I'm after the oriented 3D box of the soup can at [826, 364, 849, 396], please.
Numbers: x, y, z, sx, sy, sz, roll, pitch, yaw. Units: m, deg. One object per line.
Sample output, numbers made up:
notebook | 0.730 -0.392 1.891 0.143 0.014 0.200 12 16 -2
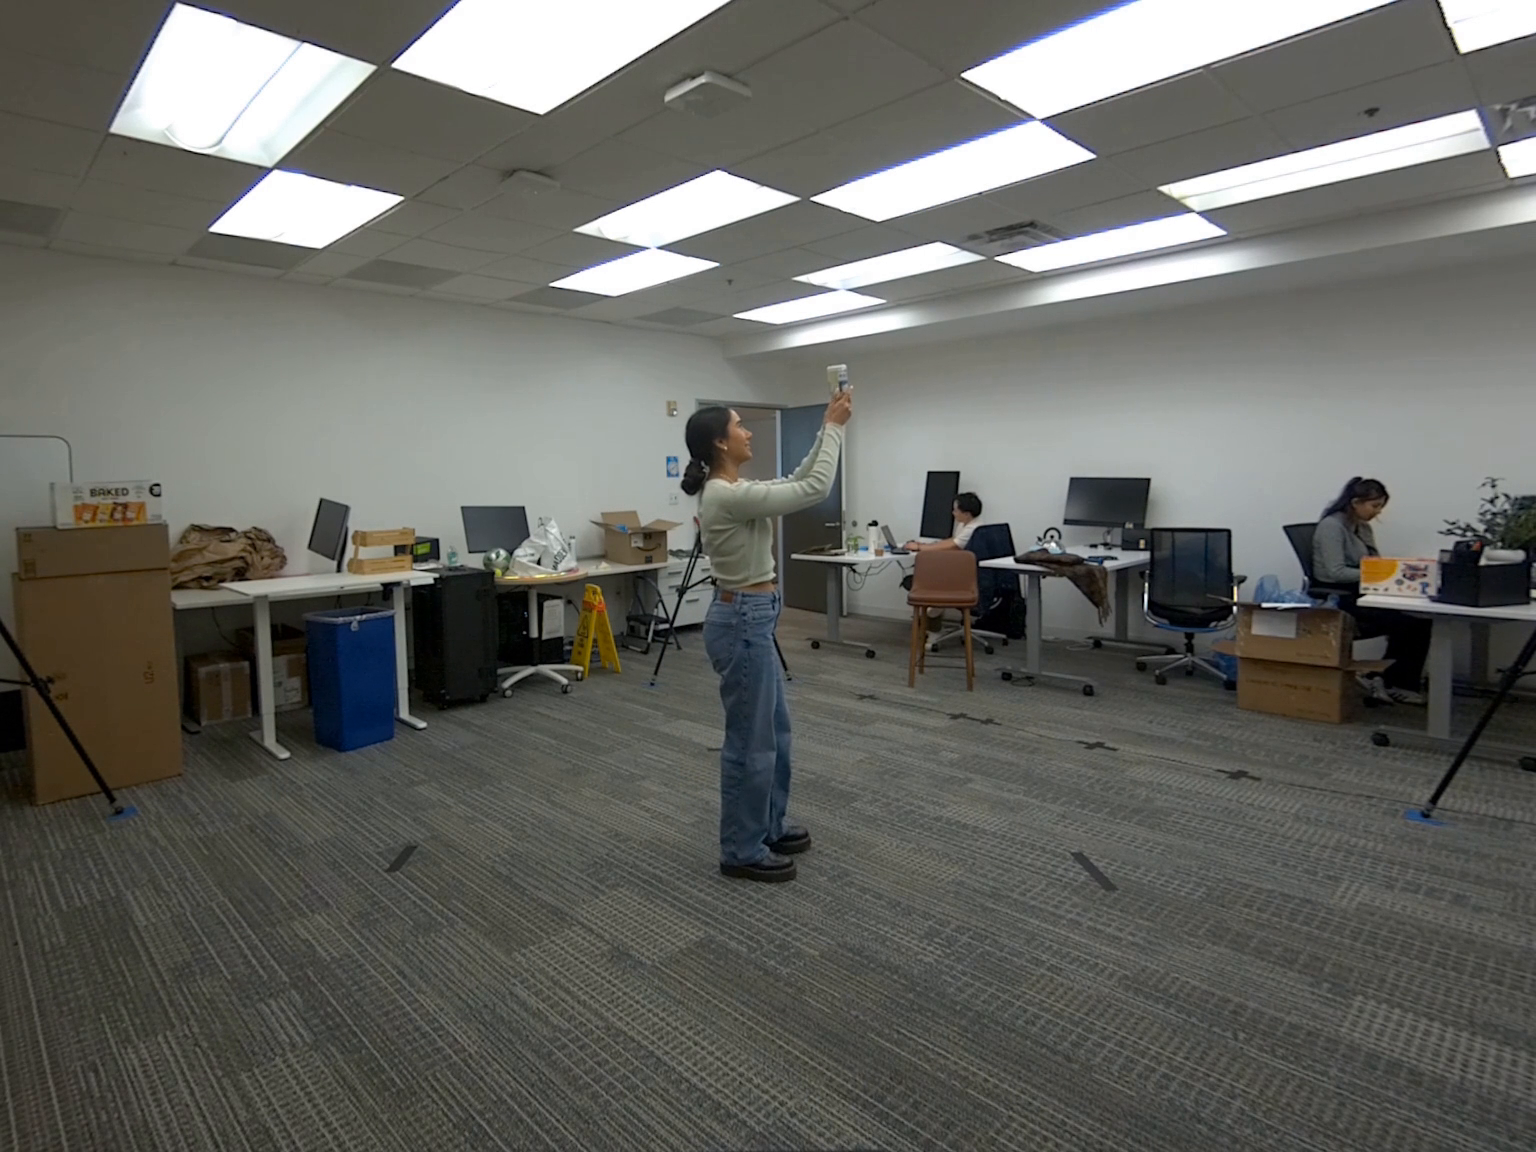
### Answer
soup can | 0.237 -0.666 2.935 0.067 0.120 0.068 -4 9 -1
